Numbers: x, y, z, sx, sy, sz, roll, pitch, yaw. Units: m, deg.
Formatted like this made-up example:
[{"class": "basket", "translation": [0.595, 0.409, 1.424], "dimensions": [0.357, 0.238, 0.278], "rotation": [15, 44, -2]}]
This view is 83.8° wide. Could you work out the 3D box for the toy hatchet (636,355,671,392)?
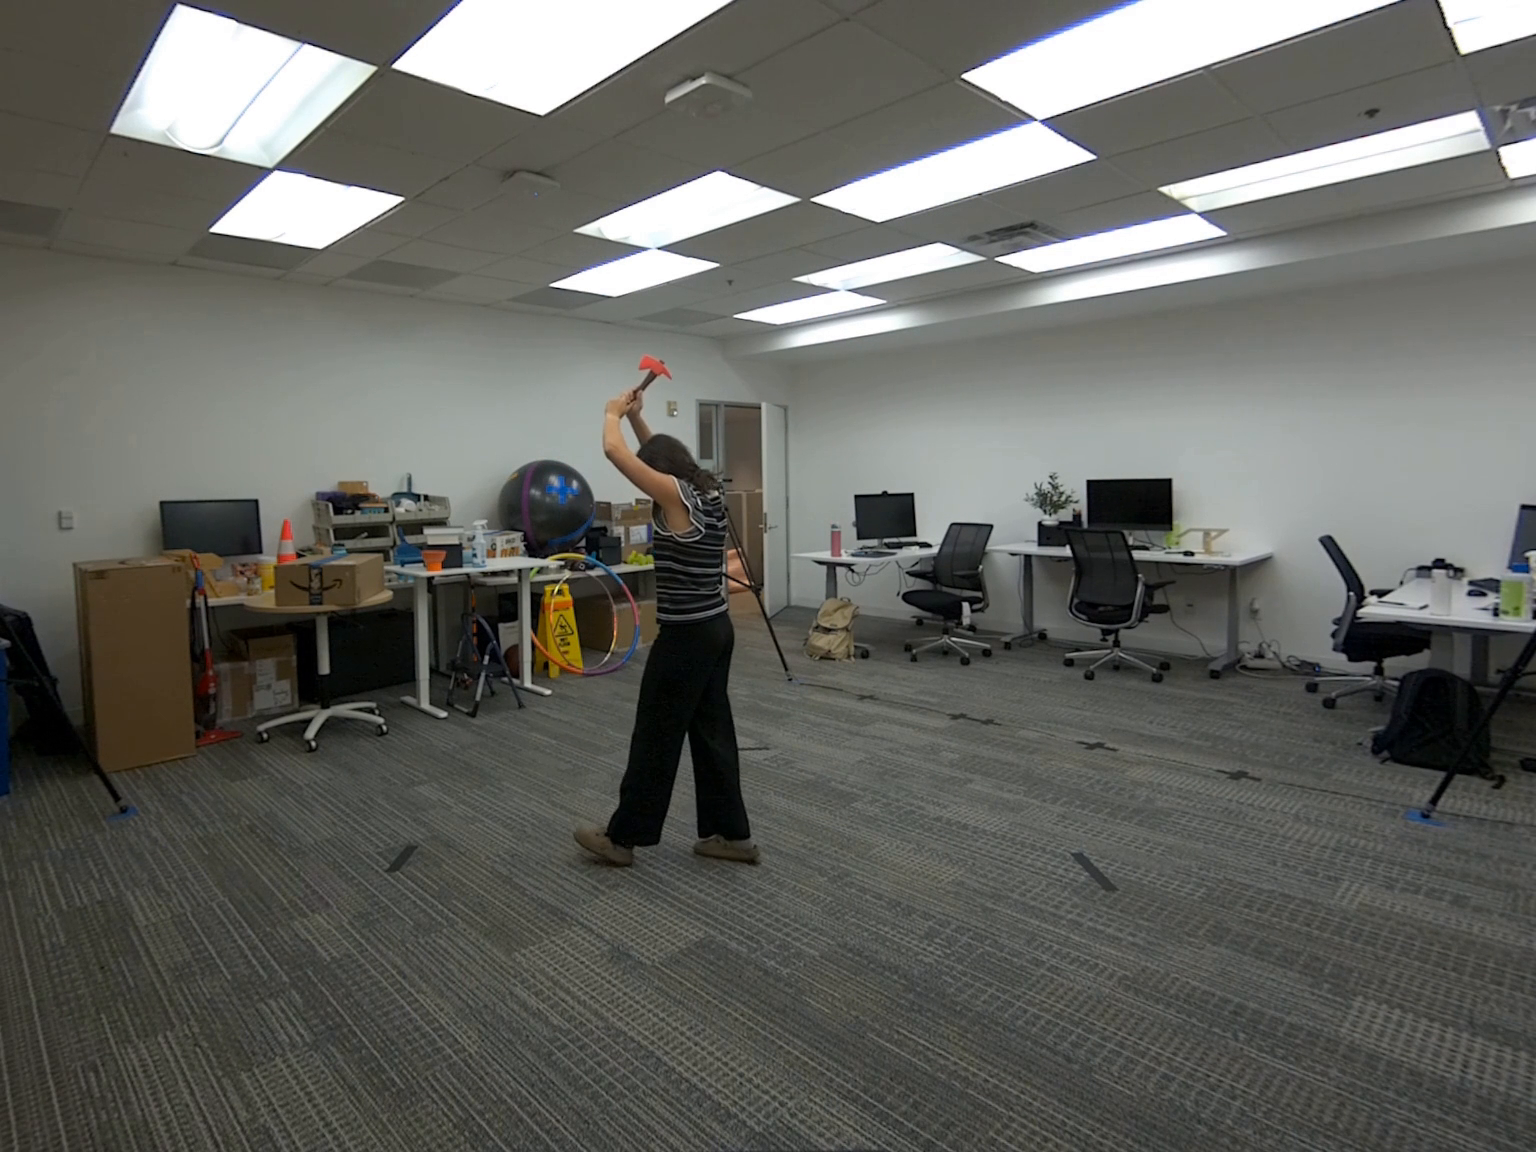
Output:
[{"class": "toy hatchet", "translation": [-0.501, -0.730, 3.176], "dimensions": [0.270, 0.131, 0.029], "rotation": [-30, 1, 0]}]
